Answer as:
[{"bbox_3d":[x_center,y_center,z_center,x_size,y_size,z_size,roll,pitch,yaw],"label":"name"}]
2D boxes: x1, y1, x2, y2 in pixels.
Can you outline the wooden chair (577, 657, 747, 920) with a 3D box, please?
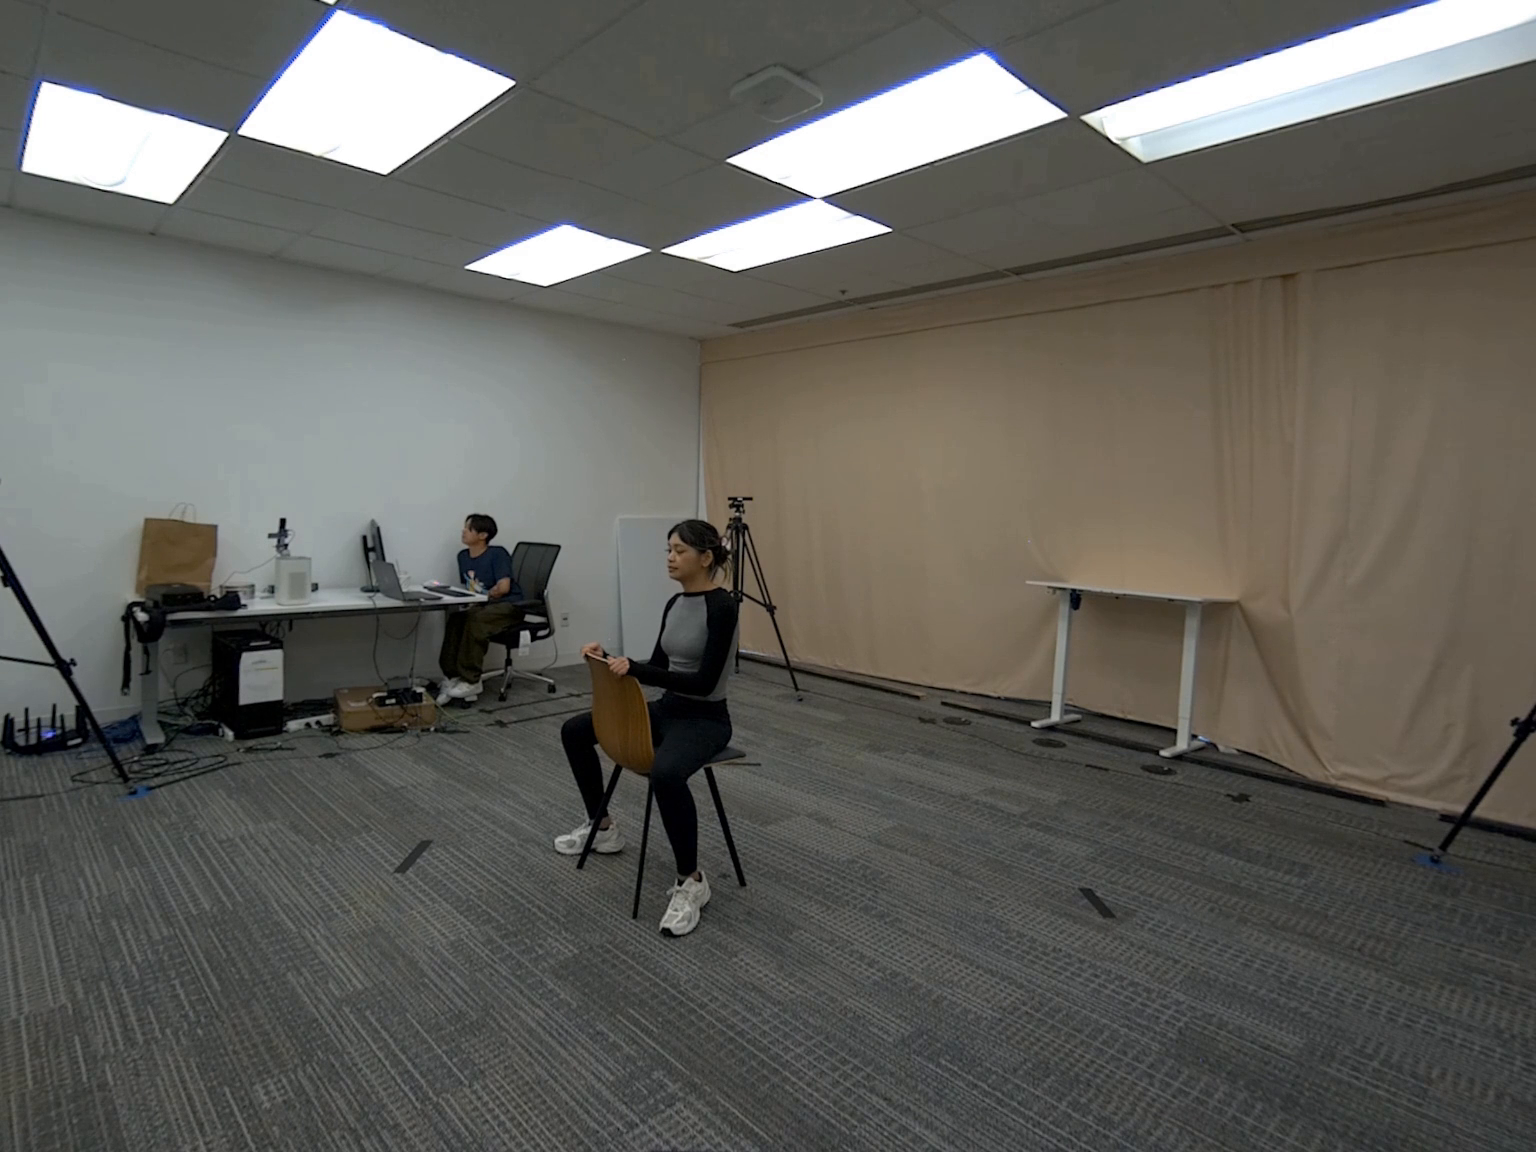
[{"bbox_3d":[-0.380,0.679,3.056,0.513,0.873,0.490,-7,8,-35],"label":"wooden chair"}]
